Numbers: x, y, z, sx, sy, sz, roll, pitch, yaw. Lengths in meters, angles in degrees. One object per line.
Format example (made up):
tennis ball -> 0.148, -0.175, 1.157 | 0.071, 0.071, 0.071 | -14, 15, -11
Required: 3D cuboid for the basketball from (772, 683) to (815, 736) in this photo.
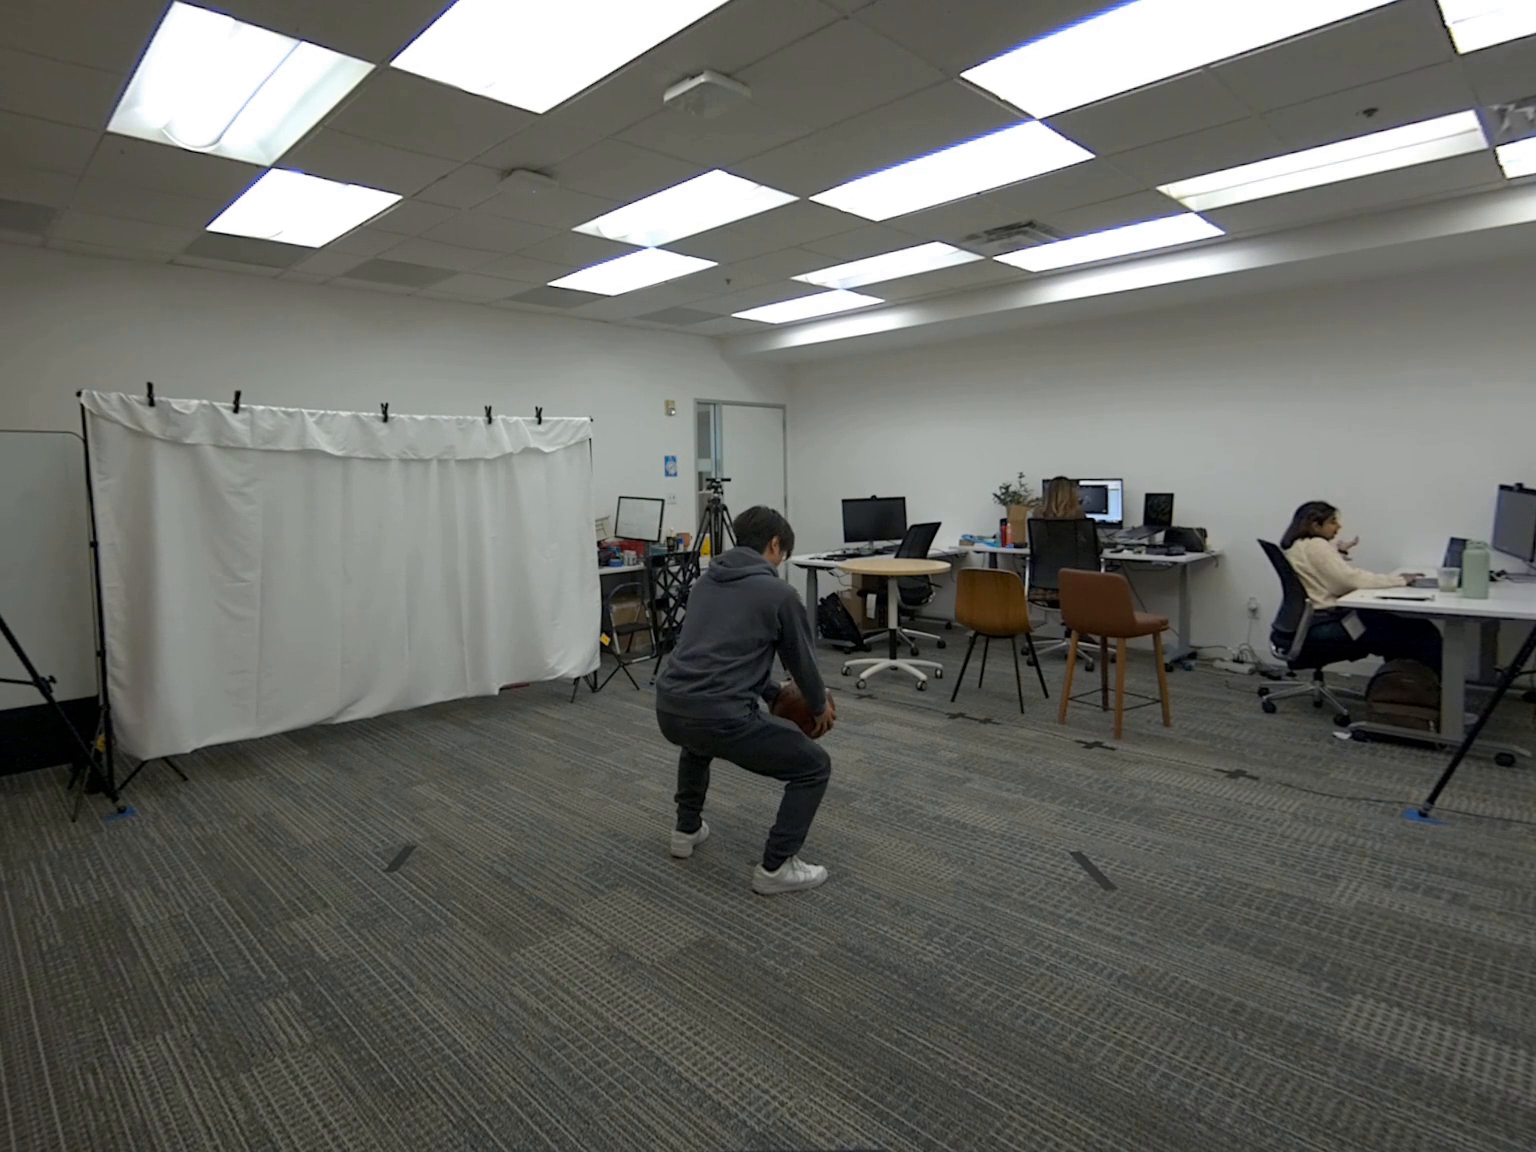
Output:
basketball -> 0.150, 0.527, 3.384 | 0.236, 0.235, 0.237 | -1, 5, -2
